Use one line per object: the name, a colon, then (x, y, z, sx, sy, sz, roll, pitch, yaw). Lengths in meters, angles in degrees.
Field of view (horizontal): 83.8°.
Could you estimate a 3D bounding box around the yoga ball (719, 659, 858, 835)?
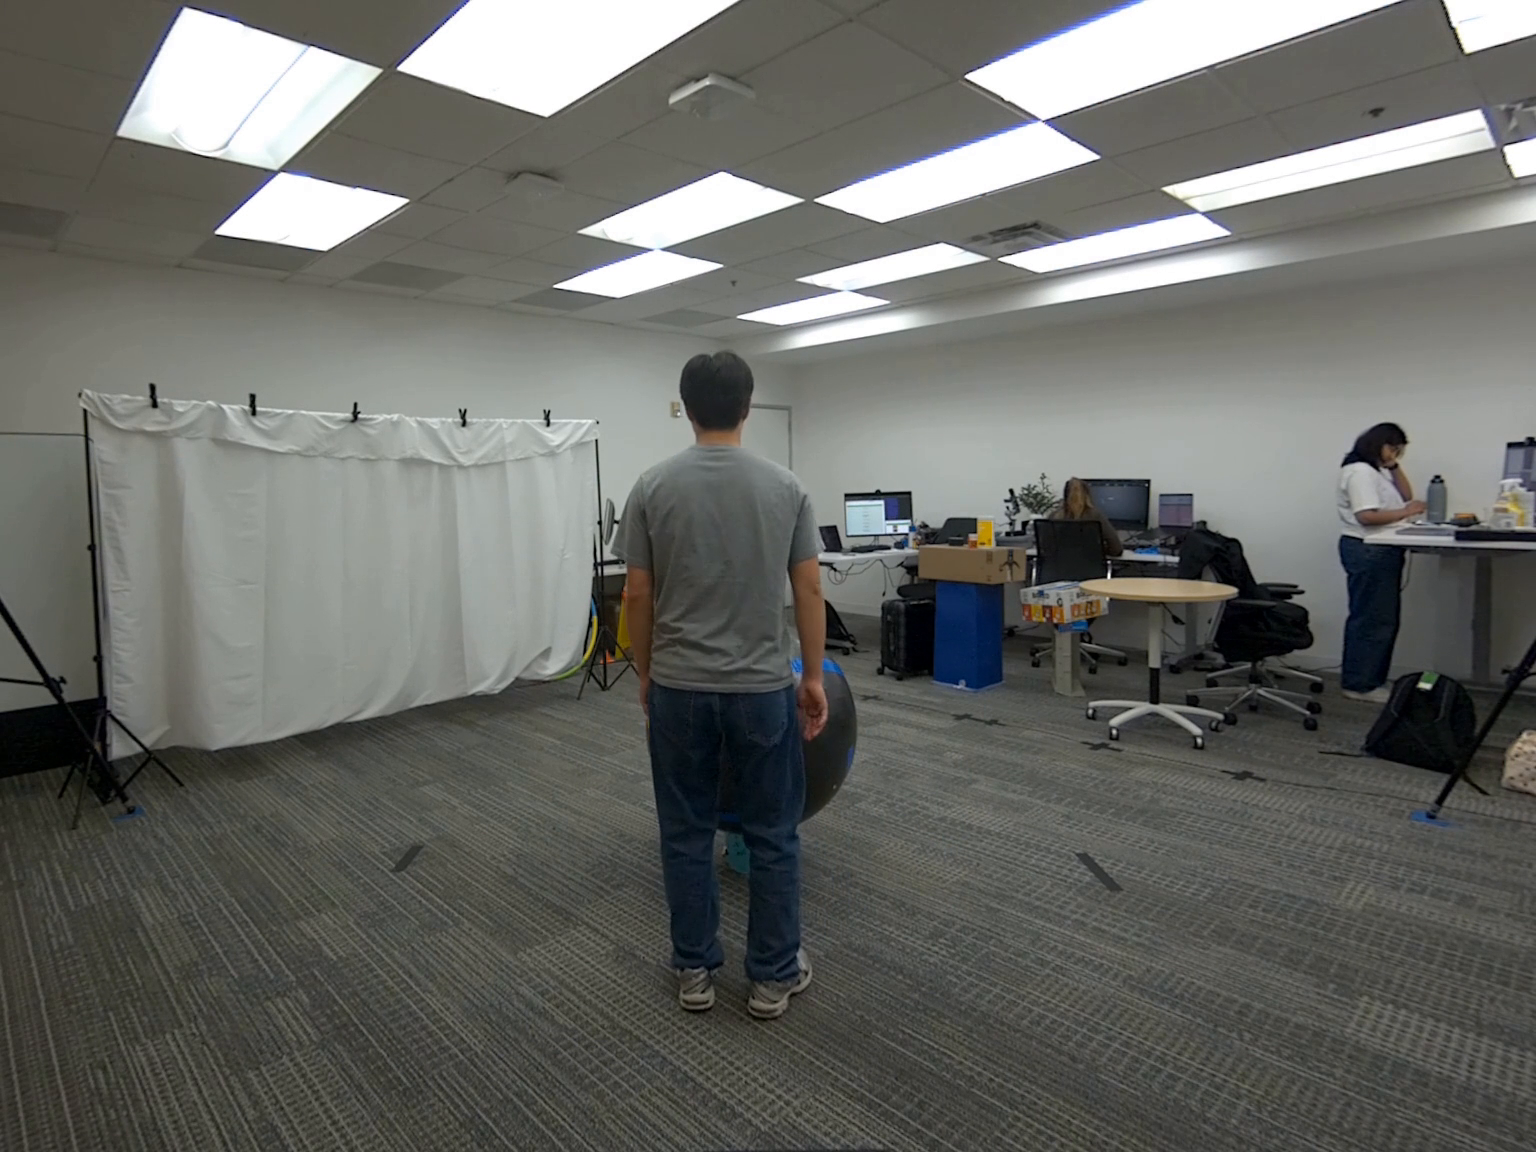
yoga ball: (-0.057, 0.540, 3.087, 0.757, 0.755, 0.762, -1, 5, -2)
